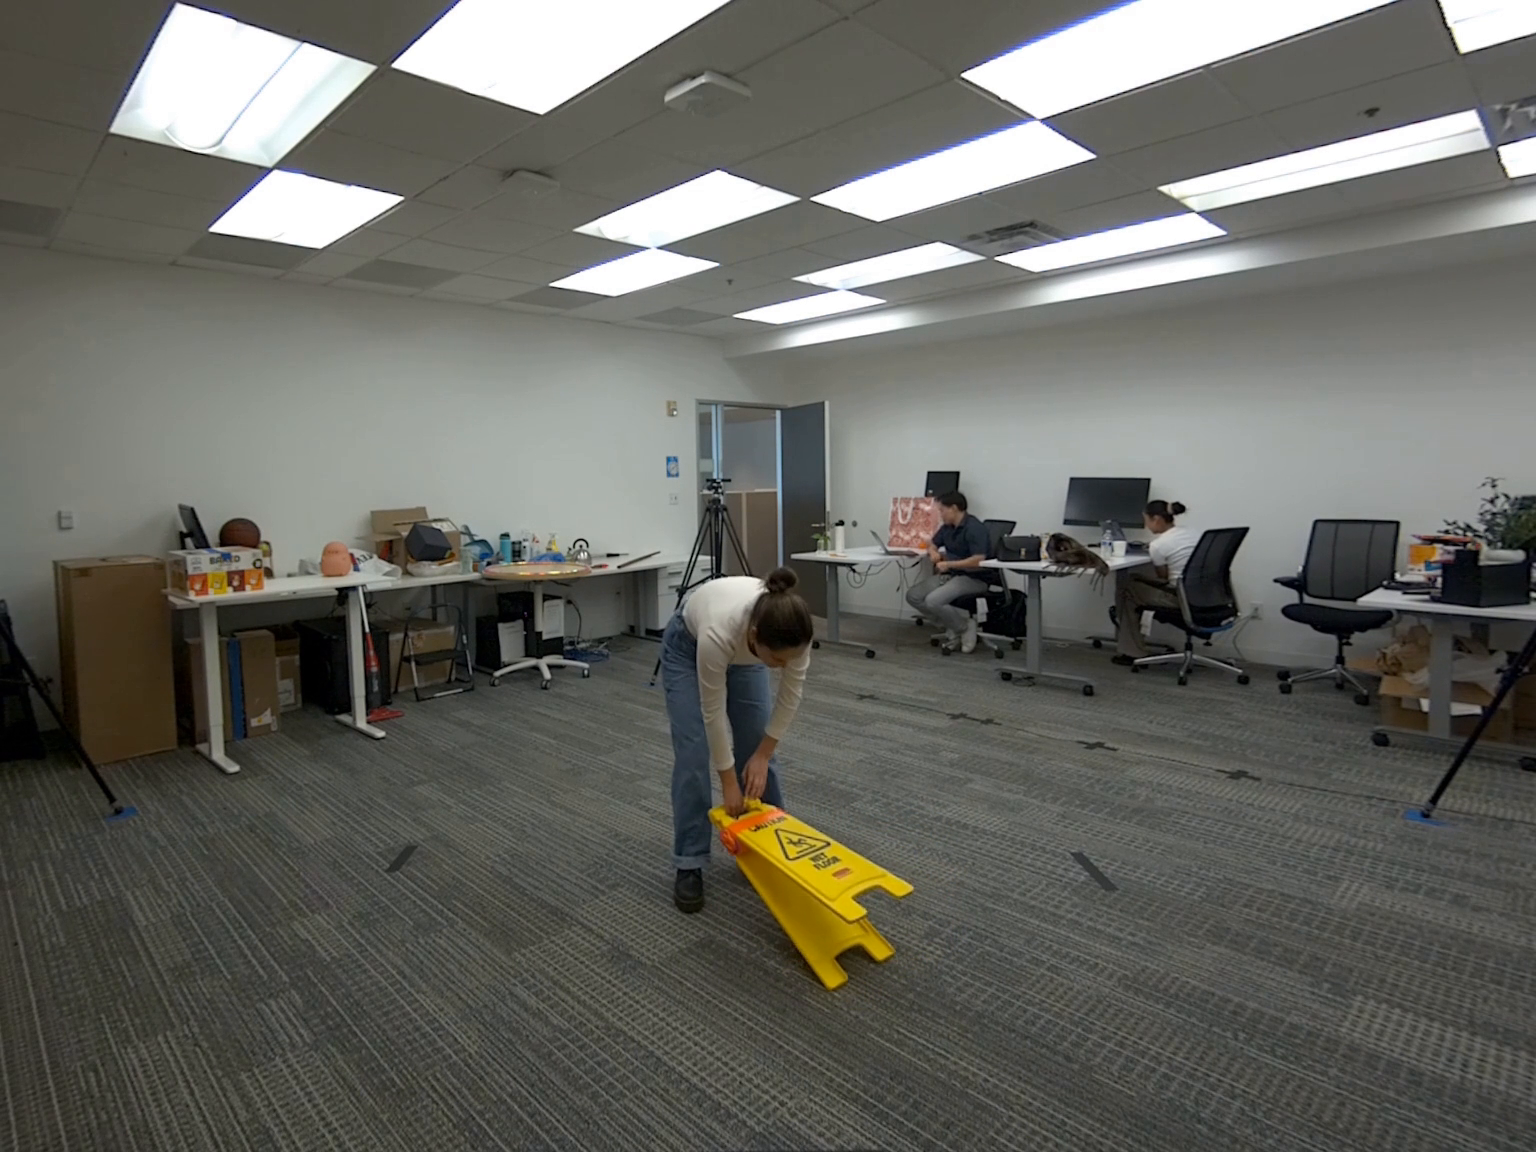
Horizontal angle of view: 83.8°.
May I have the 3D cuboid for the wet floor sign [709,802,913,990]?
[{"bbox_3d":[0.089,0.899,2.595,0.275,0.286,0.671,-4,24,-41],"label":"wet floor sign"}]
